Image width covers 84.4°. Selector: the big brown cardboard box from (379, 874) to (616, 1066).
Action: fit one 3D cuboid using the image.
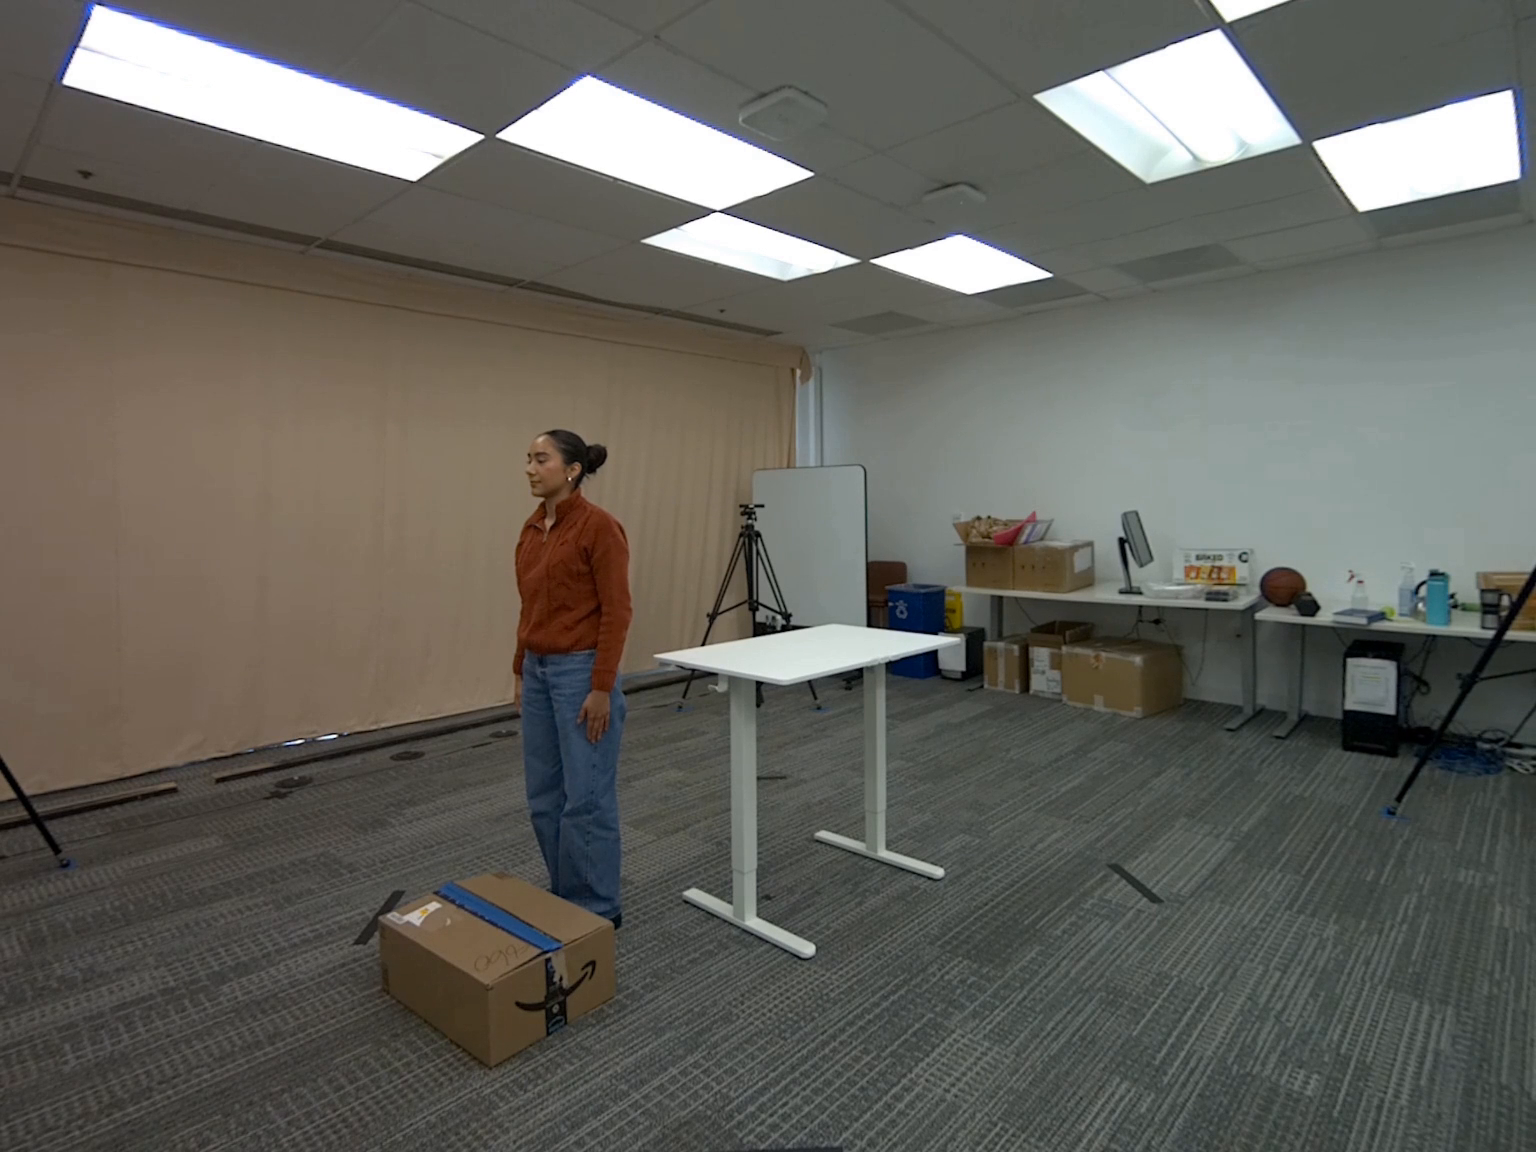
[{"bbox_3d":[-0.789,1.092,2.426,0.608,0.232,0.405,4,7,39],"label":"big brown cardboard box"}]
